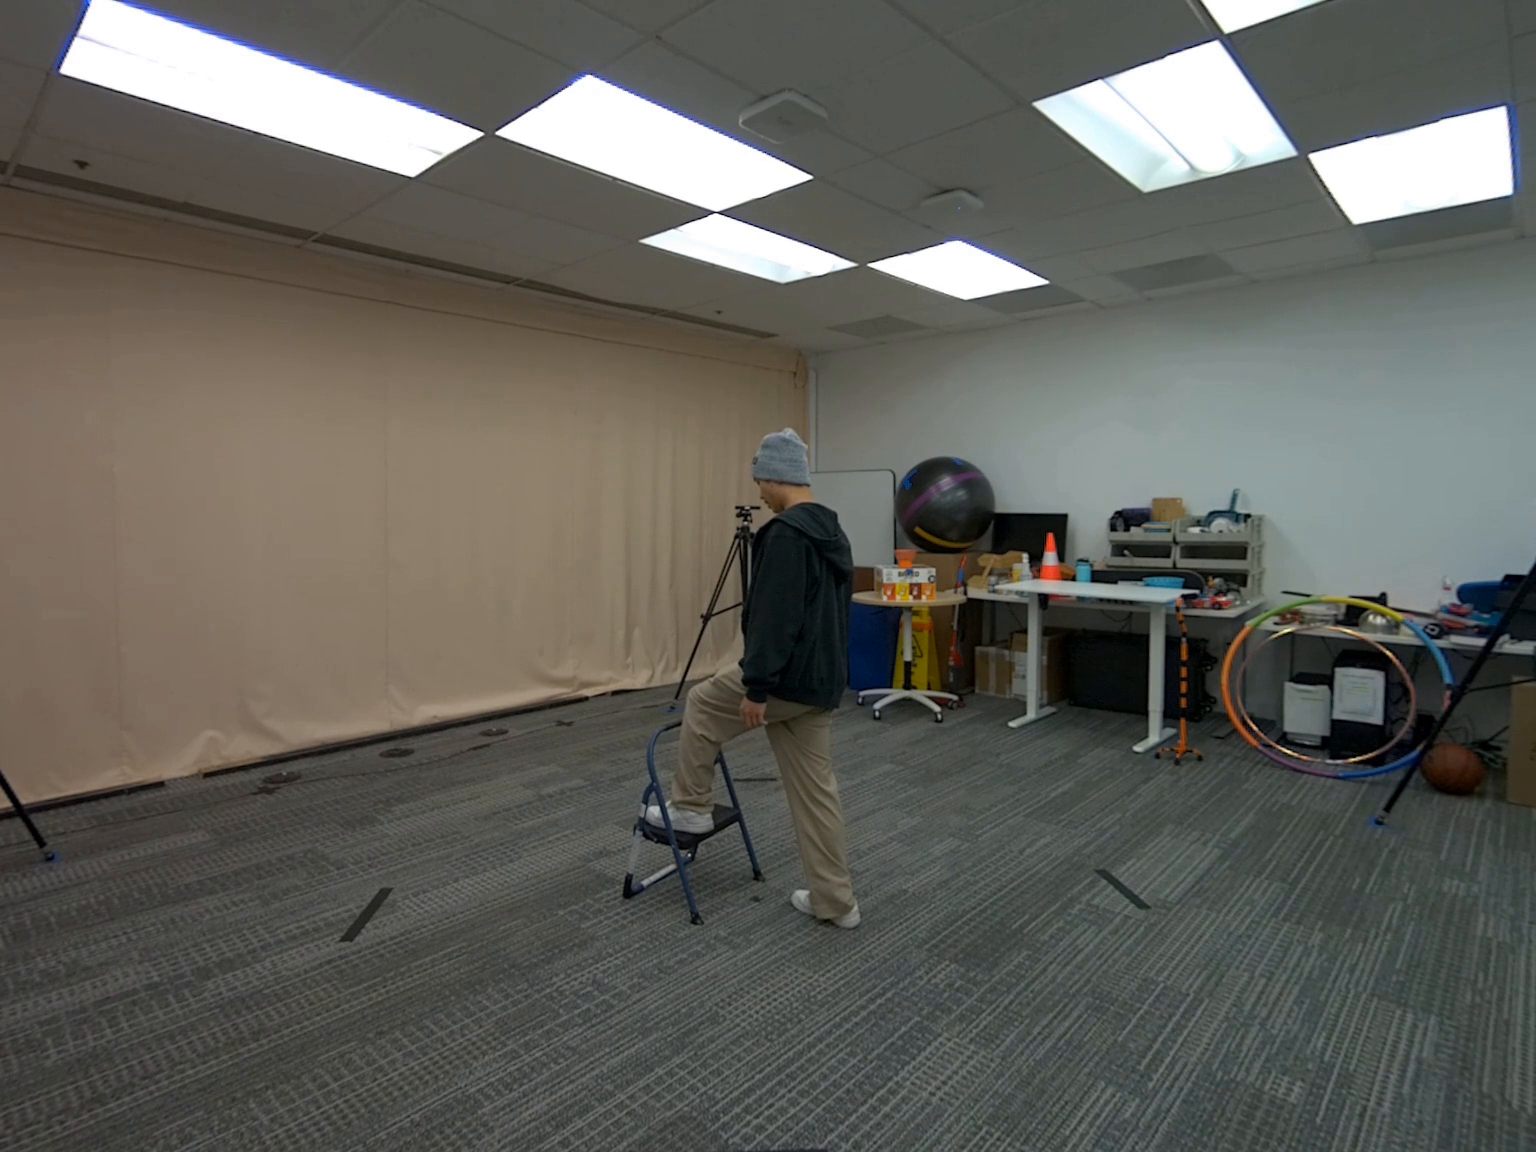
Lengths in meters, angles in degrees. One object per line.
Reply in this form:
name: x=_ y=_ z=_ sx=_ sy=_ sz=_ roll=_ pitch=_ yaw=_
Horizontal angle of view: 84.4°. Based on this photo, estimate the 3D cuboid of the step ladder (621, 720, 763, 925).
step ladder: x=-0.269 y=0.838 z=3.055 sx=0.360 sy=0.605 sz=0.418 roll=1 pitch=4 yaw=33
